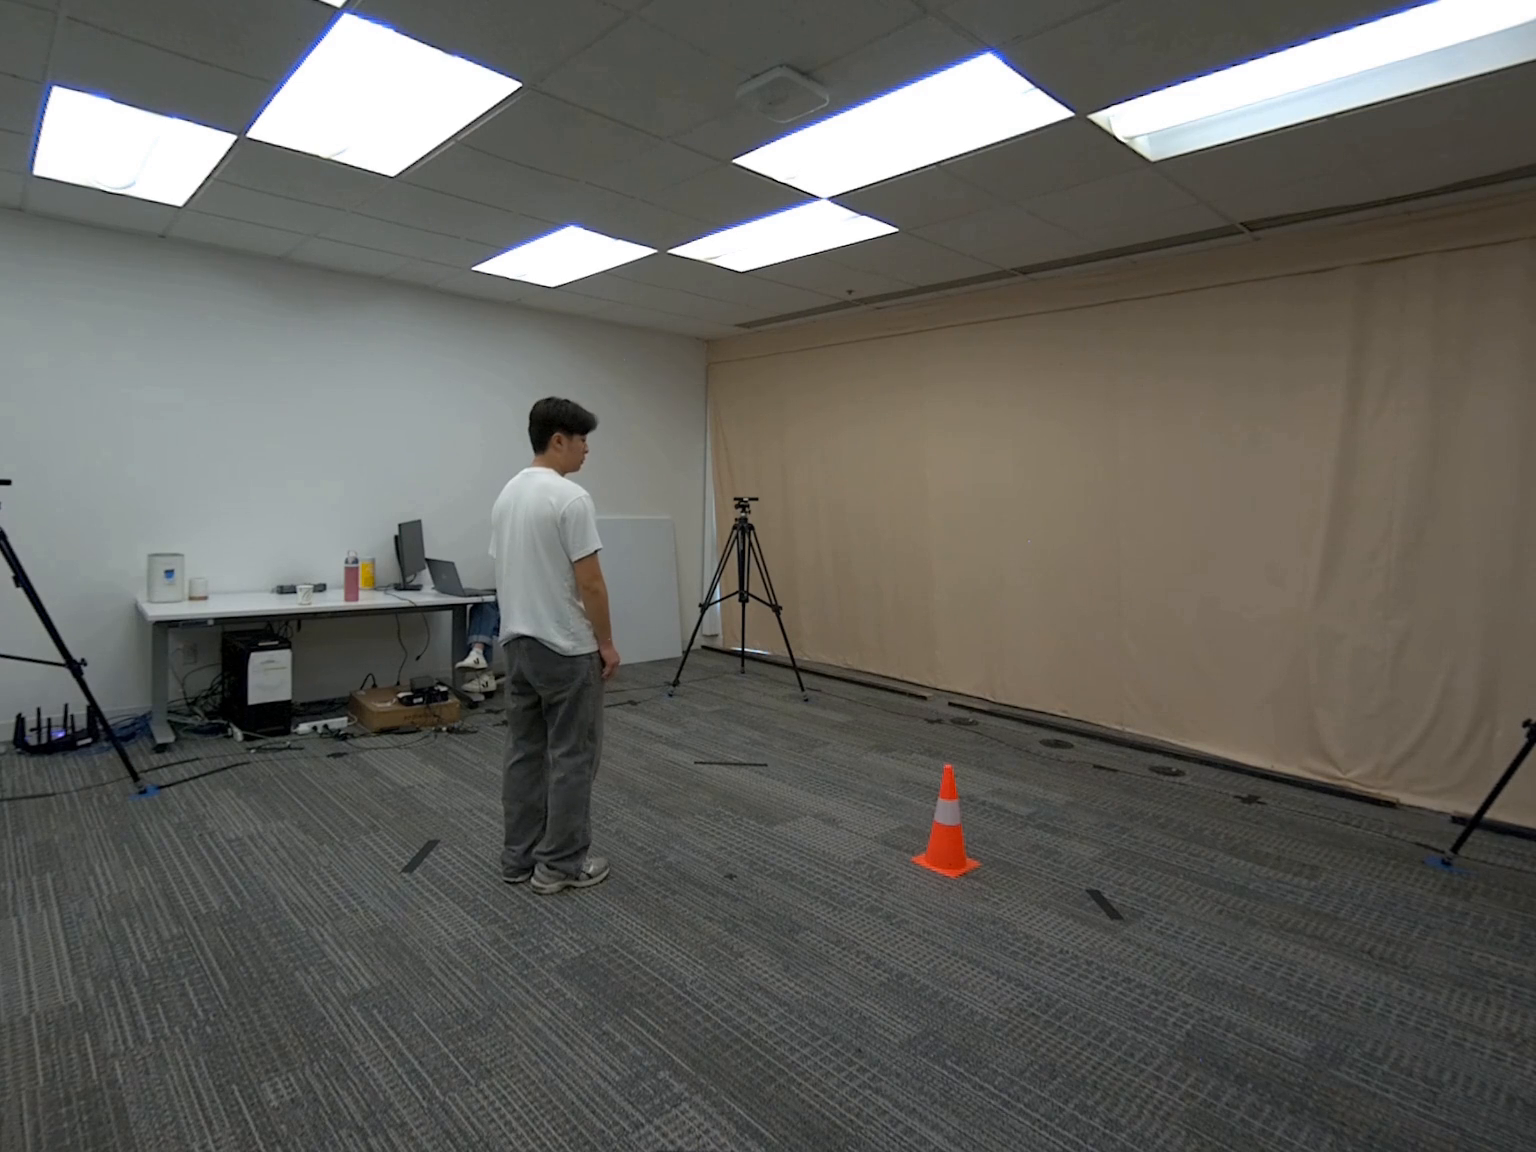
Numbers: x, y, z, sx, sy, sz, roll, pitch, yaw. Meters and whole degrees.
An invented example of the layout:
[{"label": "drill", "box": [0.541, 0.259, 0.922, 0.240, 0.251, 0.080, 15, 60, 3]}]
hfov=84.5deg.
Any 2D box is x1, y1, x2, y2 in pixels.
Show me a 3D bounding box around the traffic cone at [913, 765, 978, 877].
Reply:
[{"label": "traffic cone", "box": [0.692, 0.930, 3.264, 0.200, 0.382, 0.209, -1, 6, -42]}]
